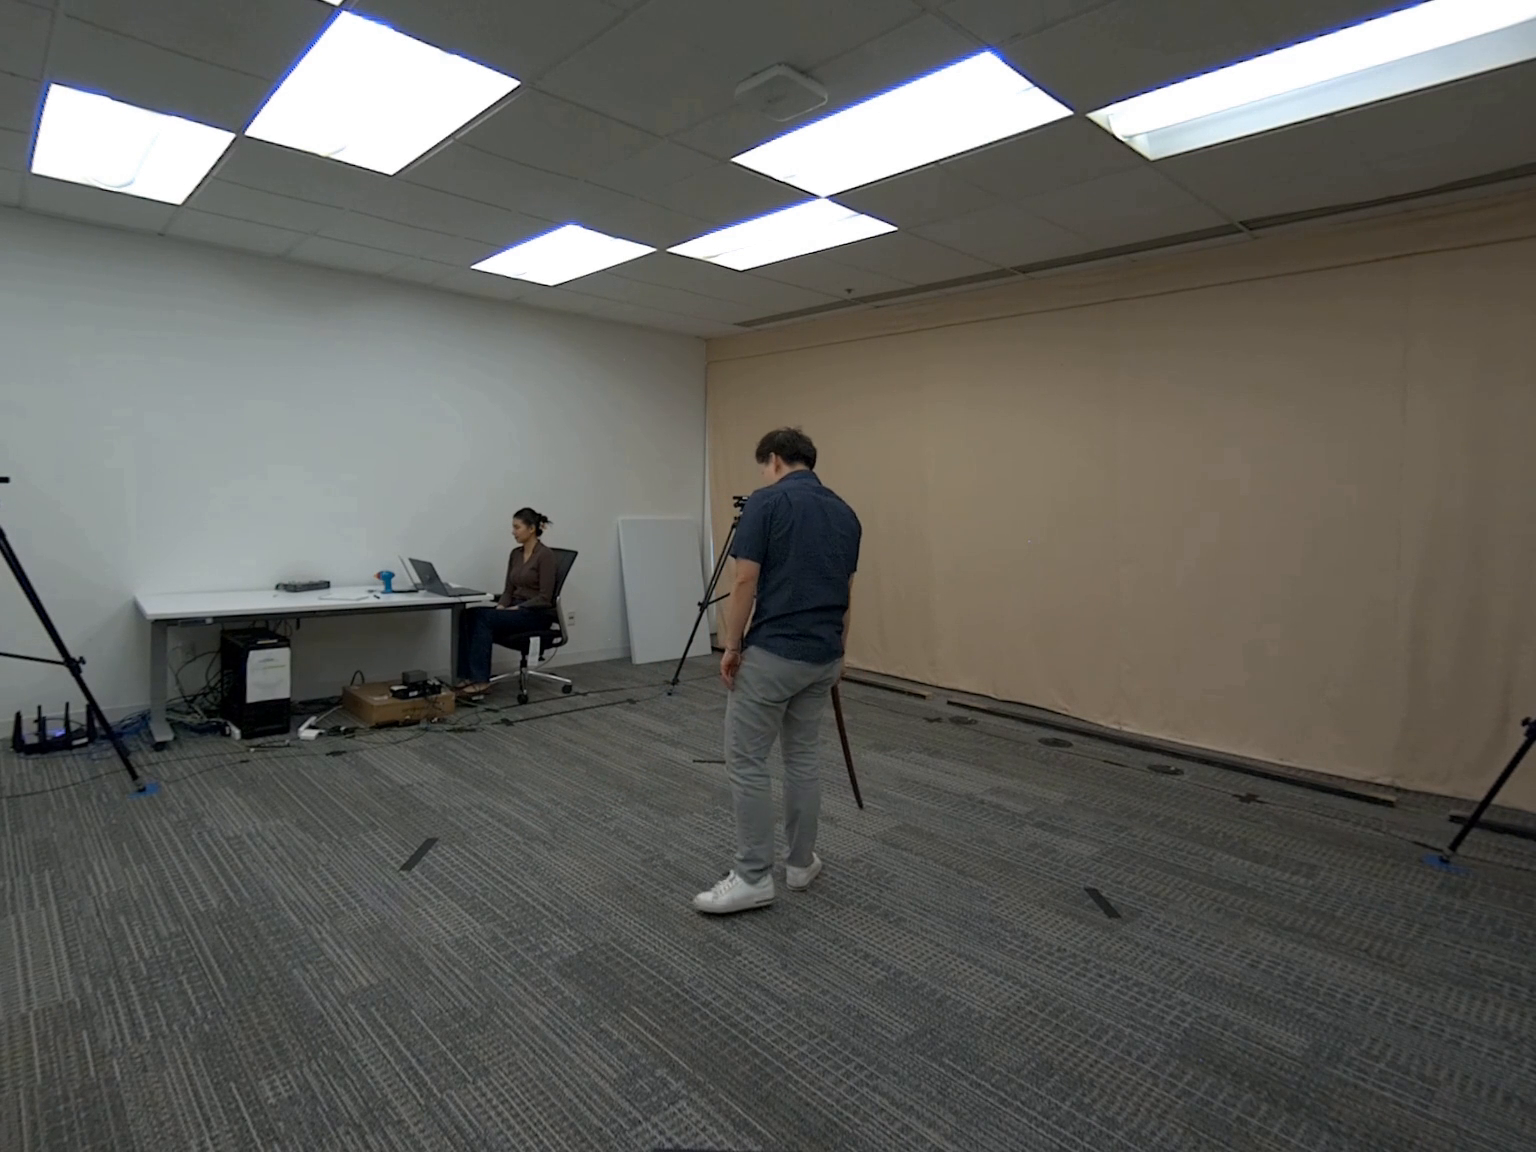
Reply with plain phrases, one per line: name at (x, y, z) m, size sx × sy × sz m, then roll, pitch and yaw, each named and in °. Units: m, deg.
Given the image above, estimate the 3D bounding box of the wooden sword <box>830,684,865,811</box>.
wooden sword at (0.314, 0.708, 3.521) m, size 0.024 × 0.996 × 0.053 m, roll -28°, pitch 44°, yaw -13°
